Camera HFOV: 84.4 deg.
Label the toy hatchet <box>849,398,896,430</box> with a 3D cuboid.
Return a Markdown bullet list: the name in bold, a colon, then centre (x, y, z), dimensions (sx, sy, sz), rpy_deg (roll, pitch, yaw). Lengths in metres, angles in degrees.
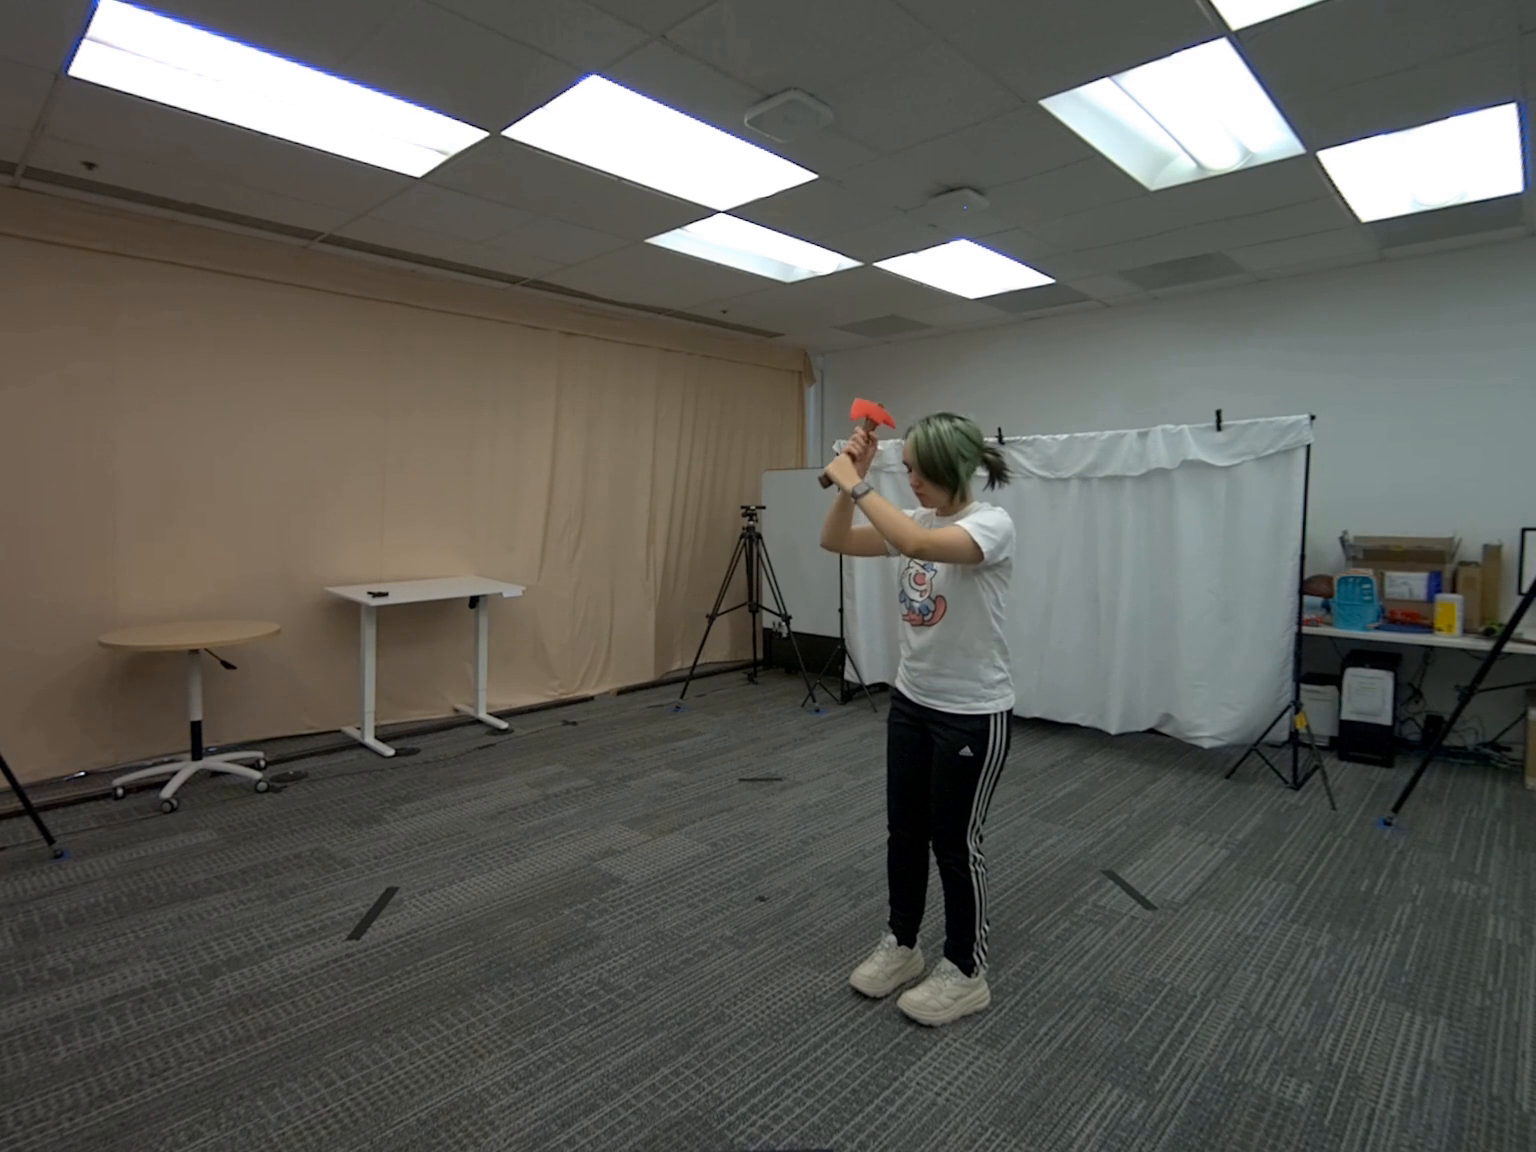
- **toy hatchet**: centre (0.220, -0.355, 2.196), dimensions (0.269, 0.130, 0.030), rpy_deg (-42, 7, -9)
